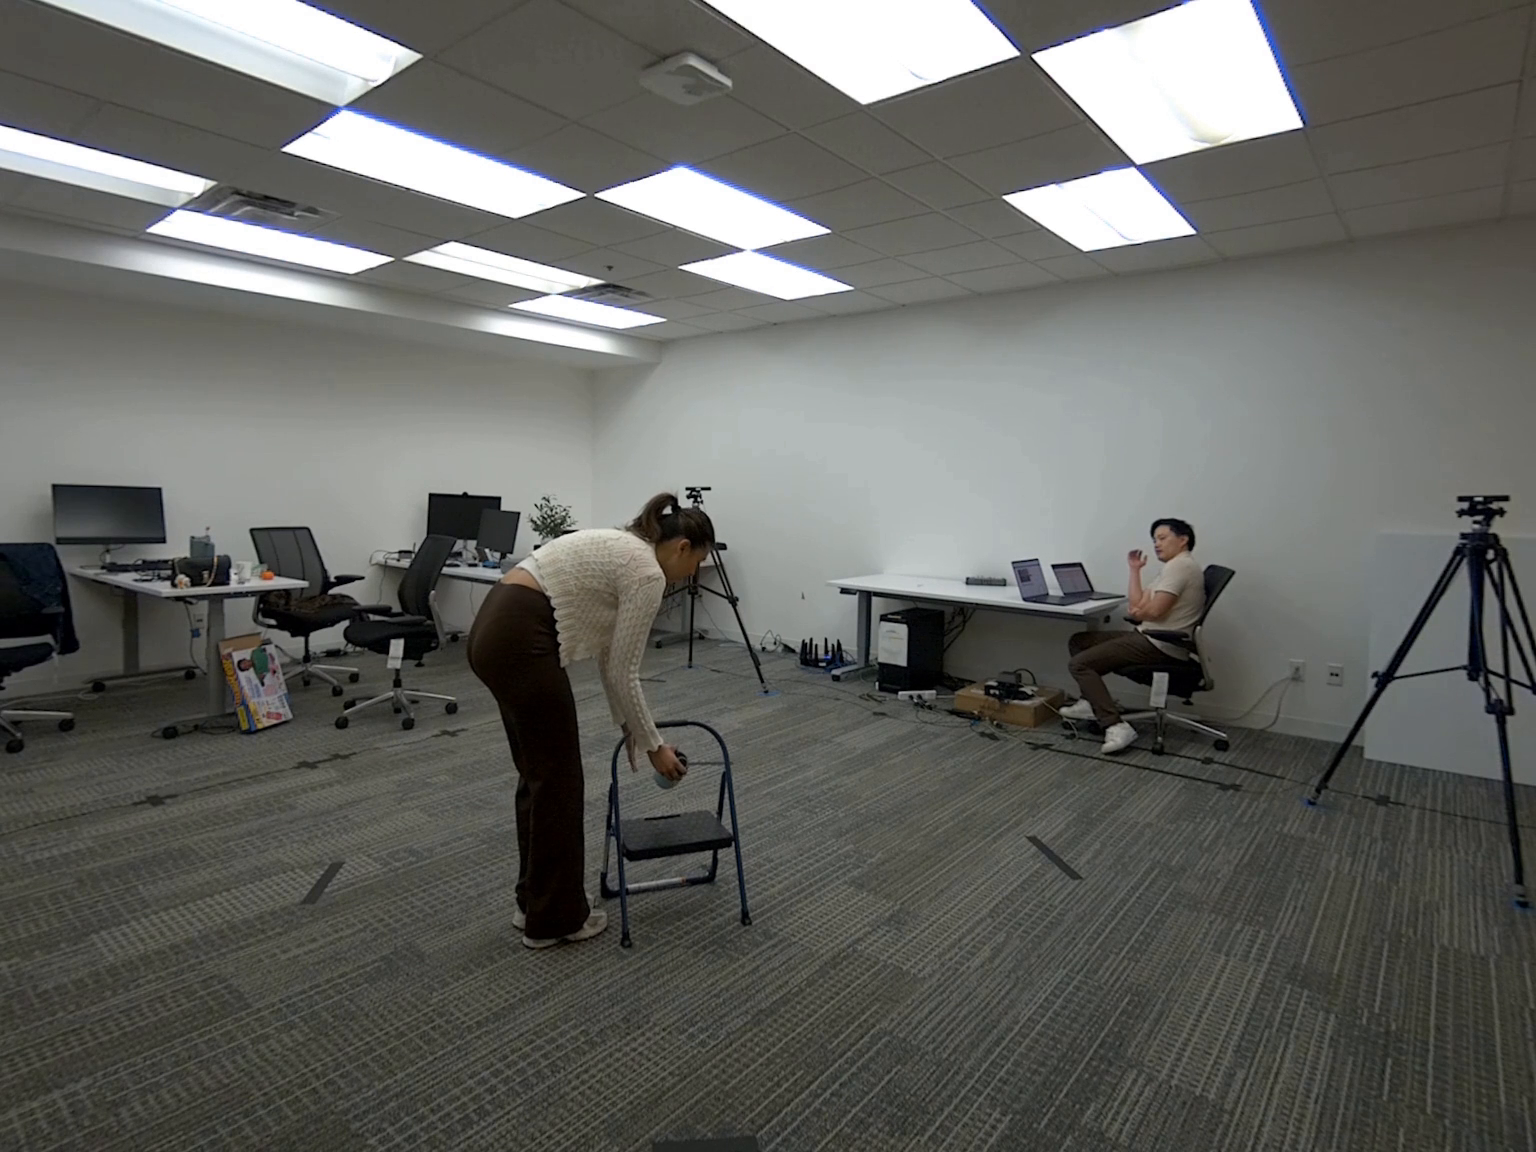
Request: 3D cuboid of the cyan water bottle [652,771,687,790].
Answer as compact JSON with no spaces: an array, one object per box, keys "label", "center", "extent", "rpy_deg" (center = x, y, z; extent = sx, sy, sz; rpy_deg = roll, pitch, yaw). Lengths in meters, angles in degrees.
[{"label":"cyan water bottle","center":[-0.324,0.629,2.751],"extent":[0.091,0.094,0.280],"rpy_deg":[1,-21,-10]}]
